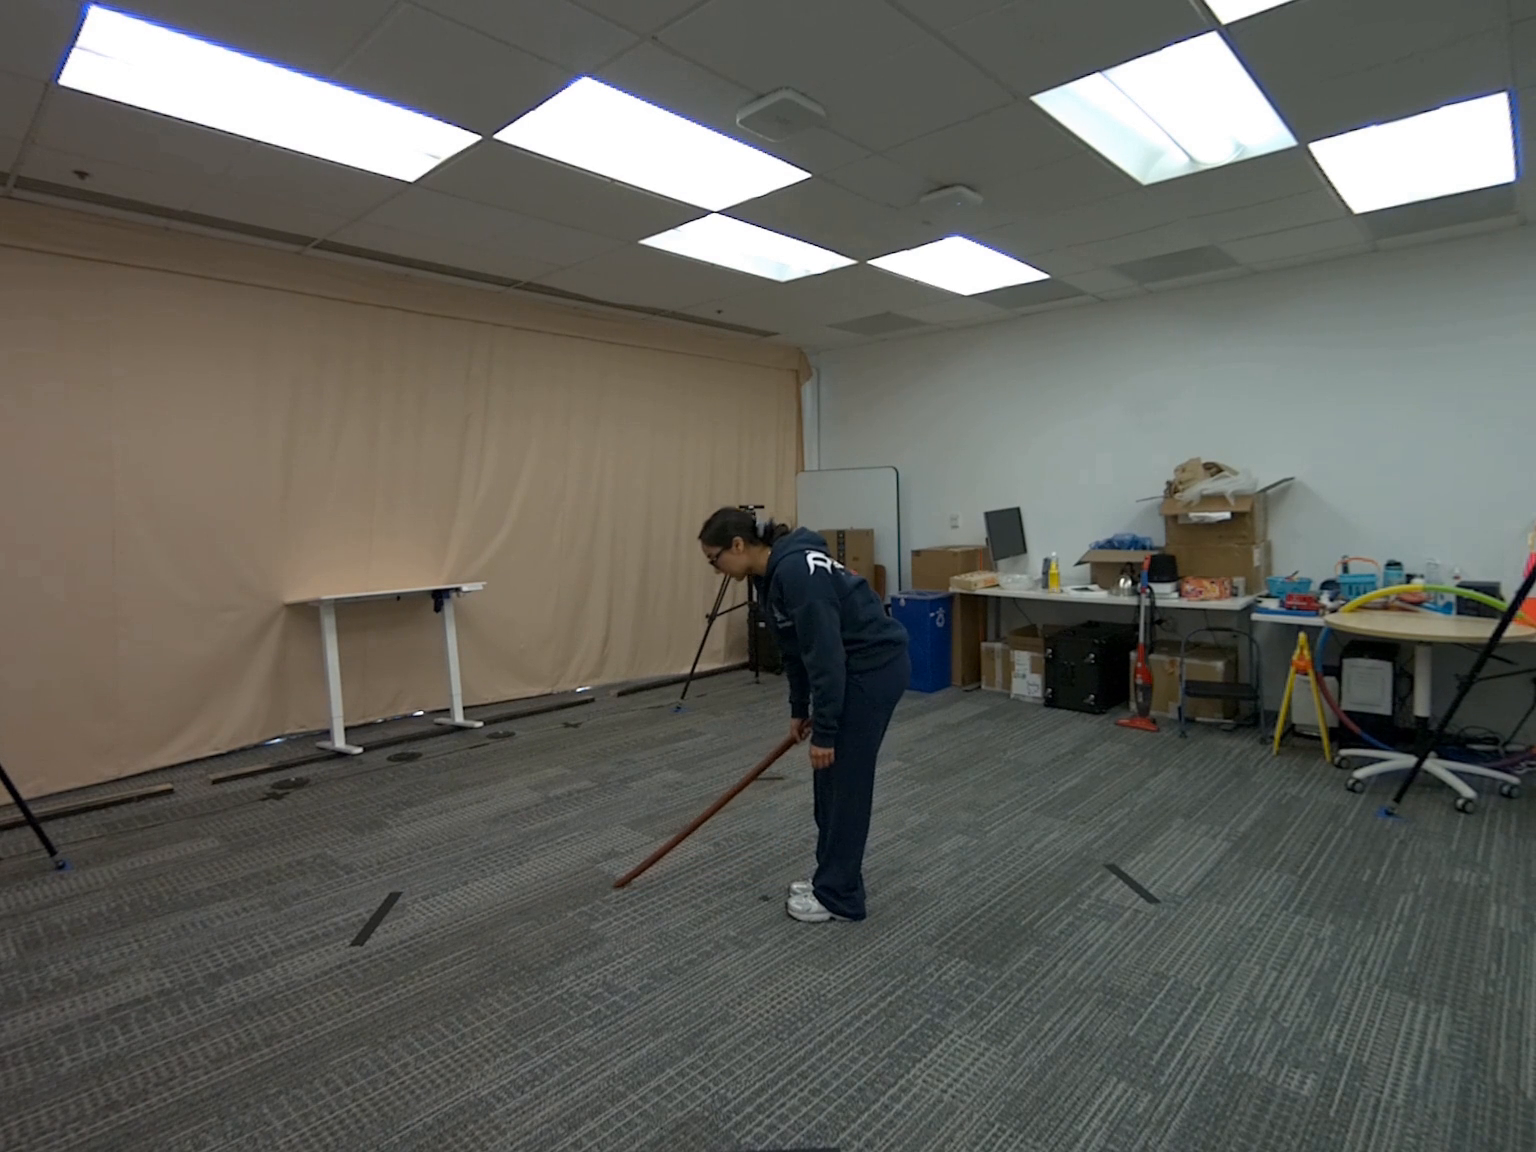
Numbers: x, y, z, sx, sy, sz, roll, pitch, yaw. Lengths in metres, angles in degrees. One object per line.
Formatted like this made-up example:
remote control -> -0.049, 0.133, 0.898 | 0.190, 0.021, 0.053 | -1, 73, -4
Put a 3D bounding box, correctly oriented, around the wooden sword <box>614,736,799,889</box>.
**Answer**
wooden sword -> -0.170, 0.825, 3.088 | 1.025, 0.024, 0.051 | -40, -6, 0
